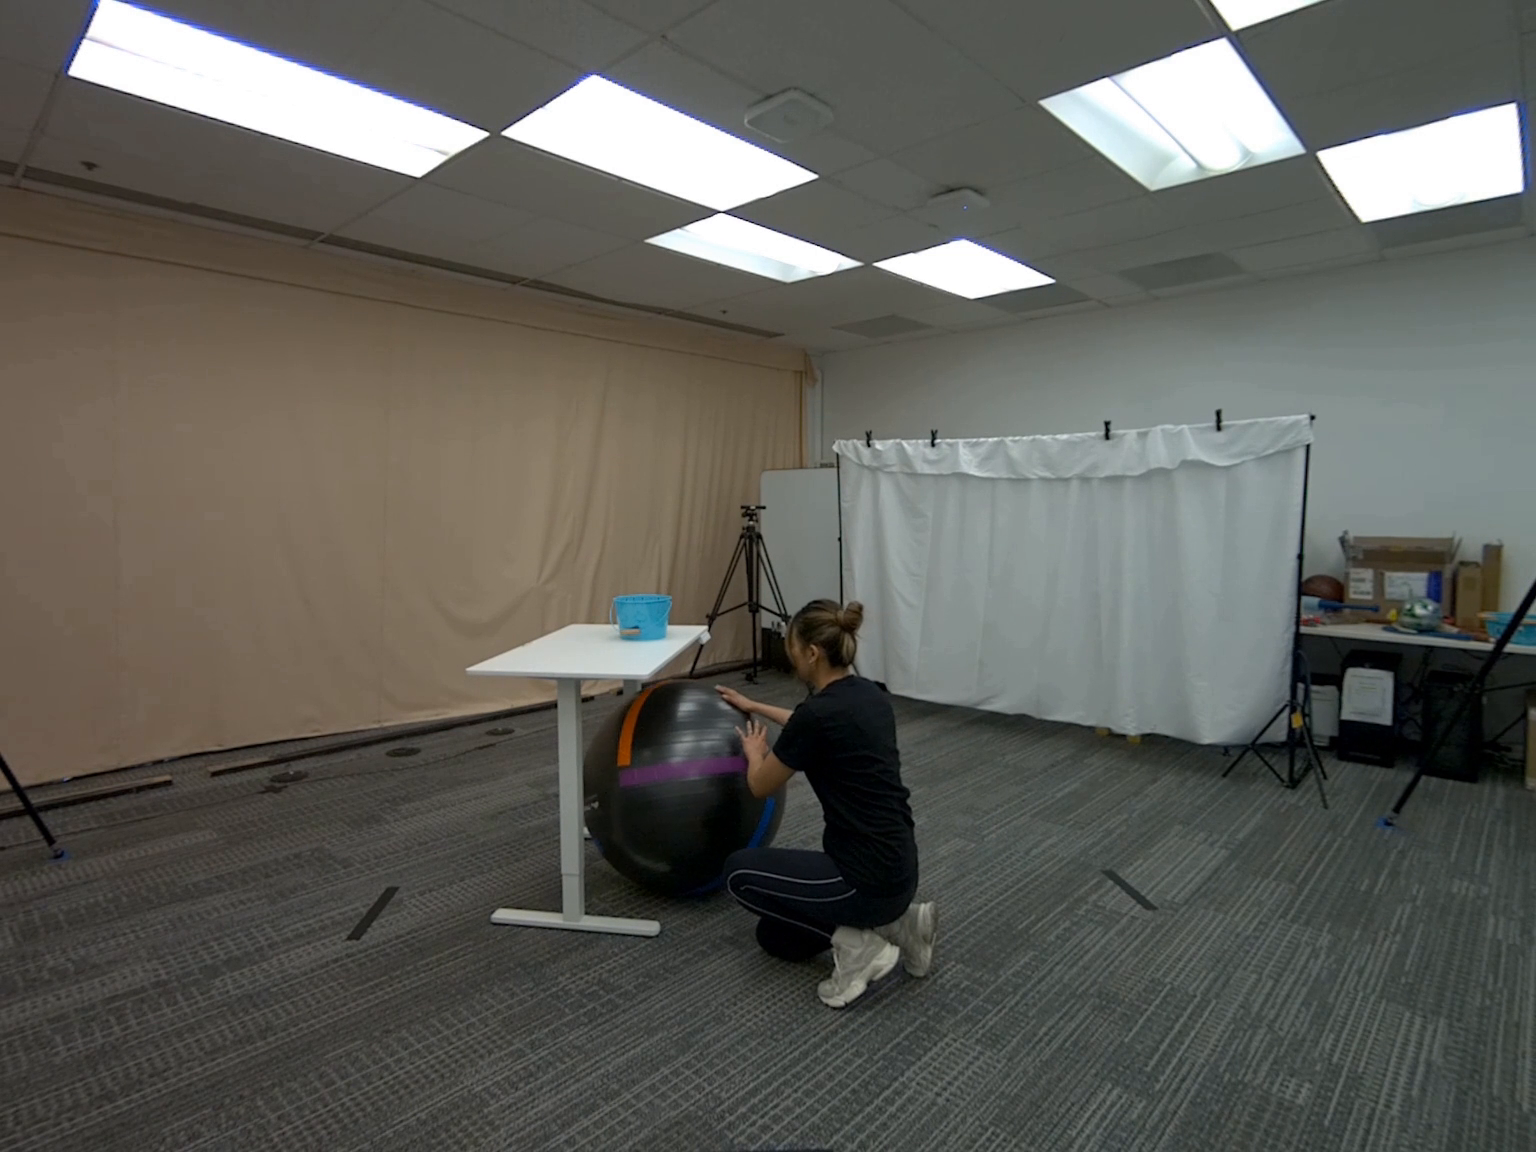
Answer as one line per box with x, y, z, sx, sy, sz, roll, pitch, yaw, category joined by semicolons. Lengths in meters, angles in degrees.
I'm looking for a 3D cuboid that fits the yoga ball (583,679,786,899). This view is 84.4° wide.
-0.310;0.773;3.108;0.757;0.756;0.761;0;4;-2;yoga ball
